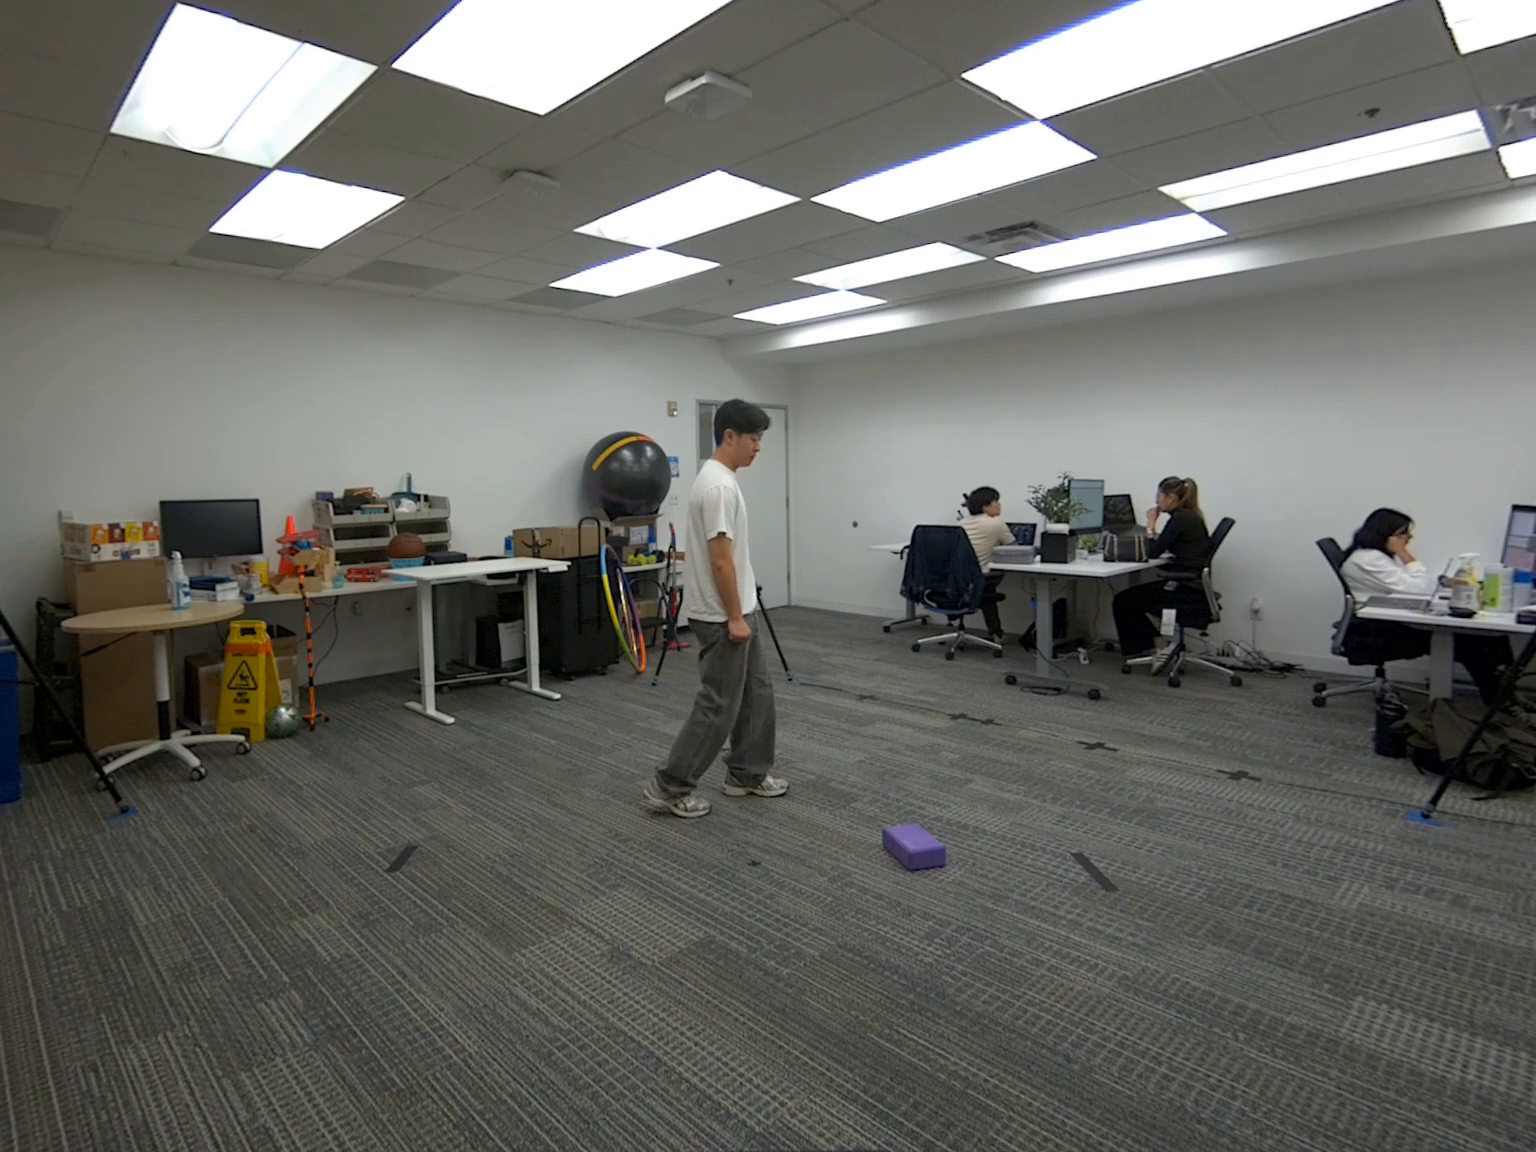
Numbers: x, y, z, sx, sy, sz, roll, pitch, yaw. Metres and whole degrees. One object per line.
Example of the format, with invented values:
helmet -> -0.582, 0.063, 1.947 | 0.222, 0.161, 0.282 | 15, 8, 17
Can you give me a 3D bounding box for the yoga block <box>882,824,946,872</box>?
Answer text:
yoga block -> 0.538, 0.992, 3.144 | 0.147, 0.076, 0.233 | -3, 6, -15
